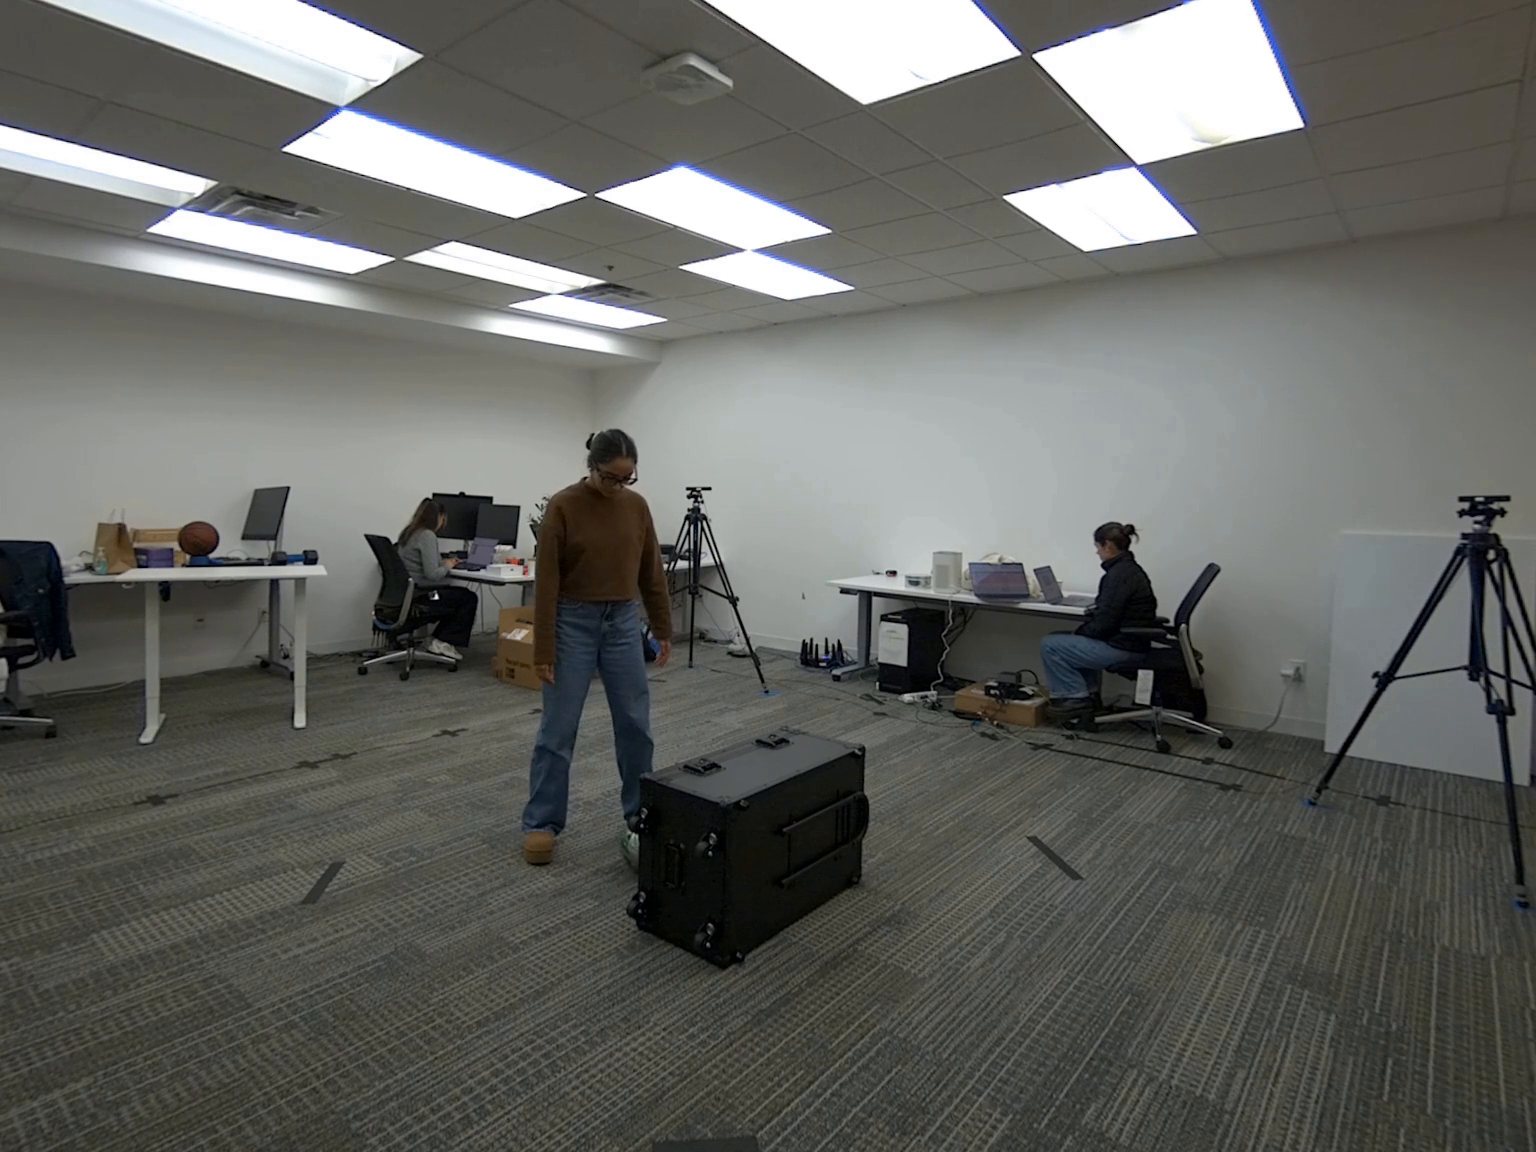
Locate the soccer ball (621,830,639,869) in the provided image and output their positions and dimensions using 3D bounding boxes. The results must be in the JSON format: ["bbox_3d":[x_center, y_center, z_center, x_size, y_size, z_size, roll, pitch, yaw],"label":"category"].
[{"bbox_3d":[-0.445,0.960,3.072,0.187,0.187,0.188,1,4,-2],"label":"soccer ball"}]
